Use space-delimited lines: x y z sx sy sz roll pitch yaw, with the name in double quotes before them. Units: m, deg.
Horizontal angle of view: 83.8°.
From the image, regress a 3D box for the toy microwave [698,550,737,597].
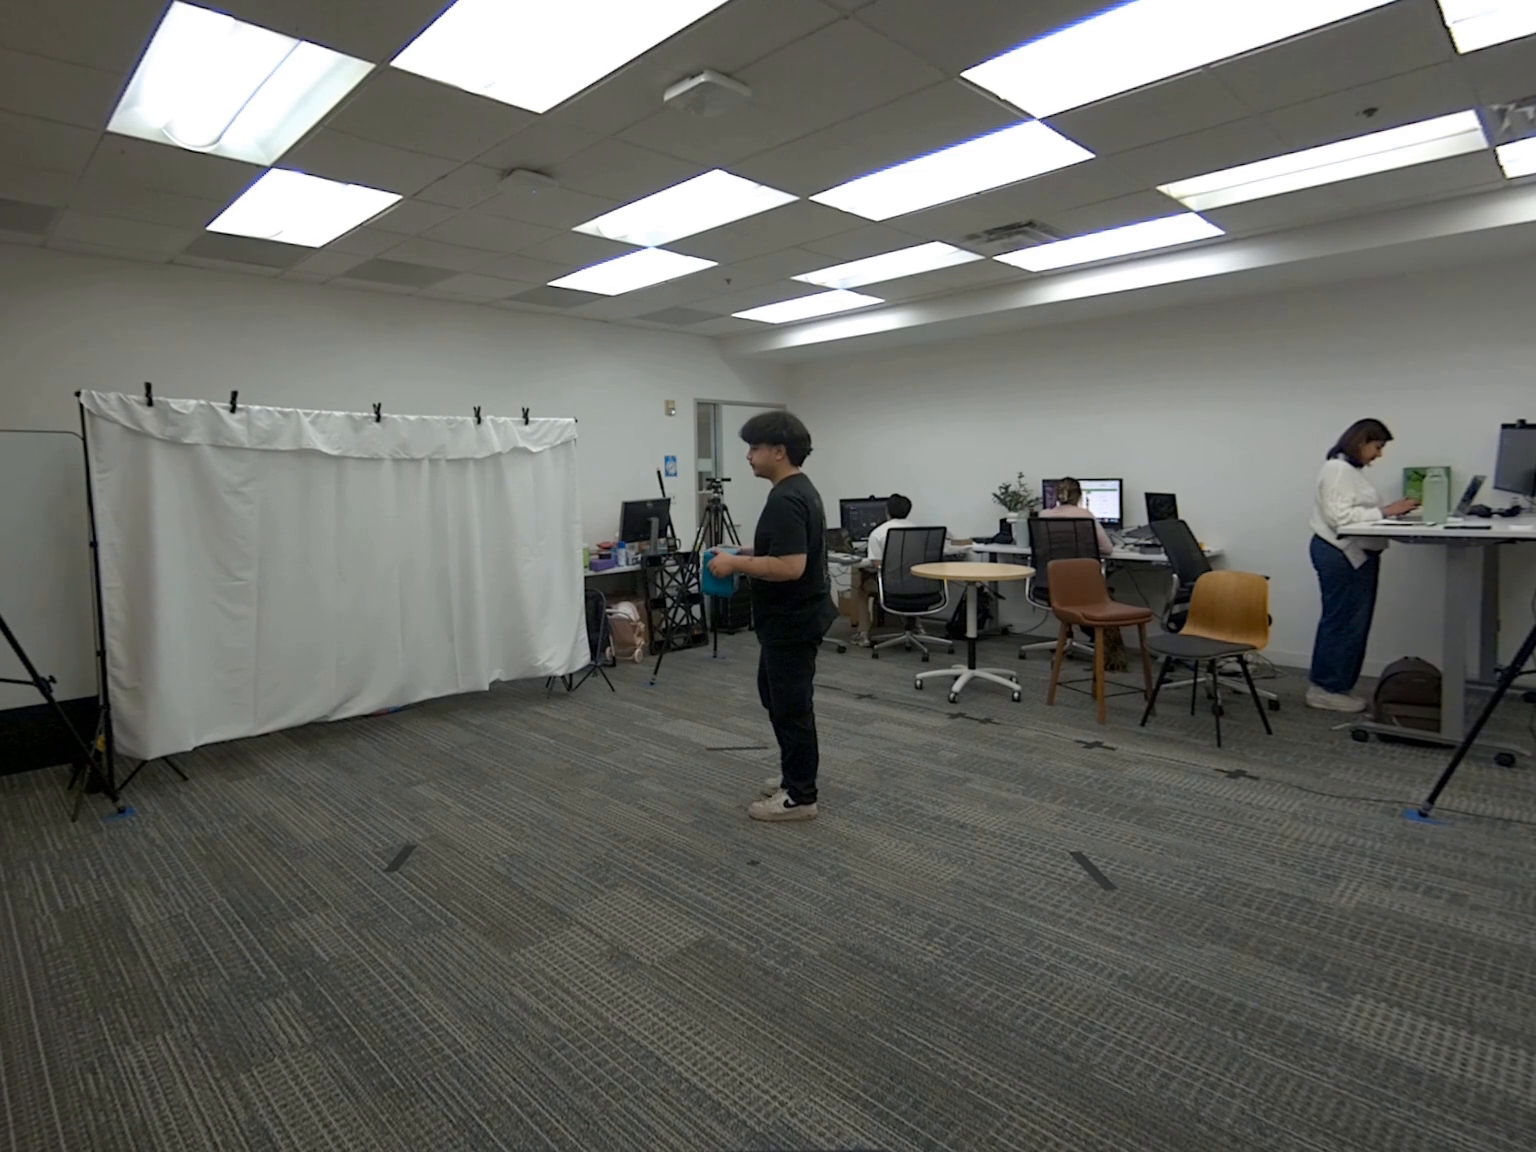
"toy microwave" -0.195 -0.022 3.546 0.153 0.183 0.285 5 6 6
